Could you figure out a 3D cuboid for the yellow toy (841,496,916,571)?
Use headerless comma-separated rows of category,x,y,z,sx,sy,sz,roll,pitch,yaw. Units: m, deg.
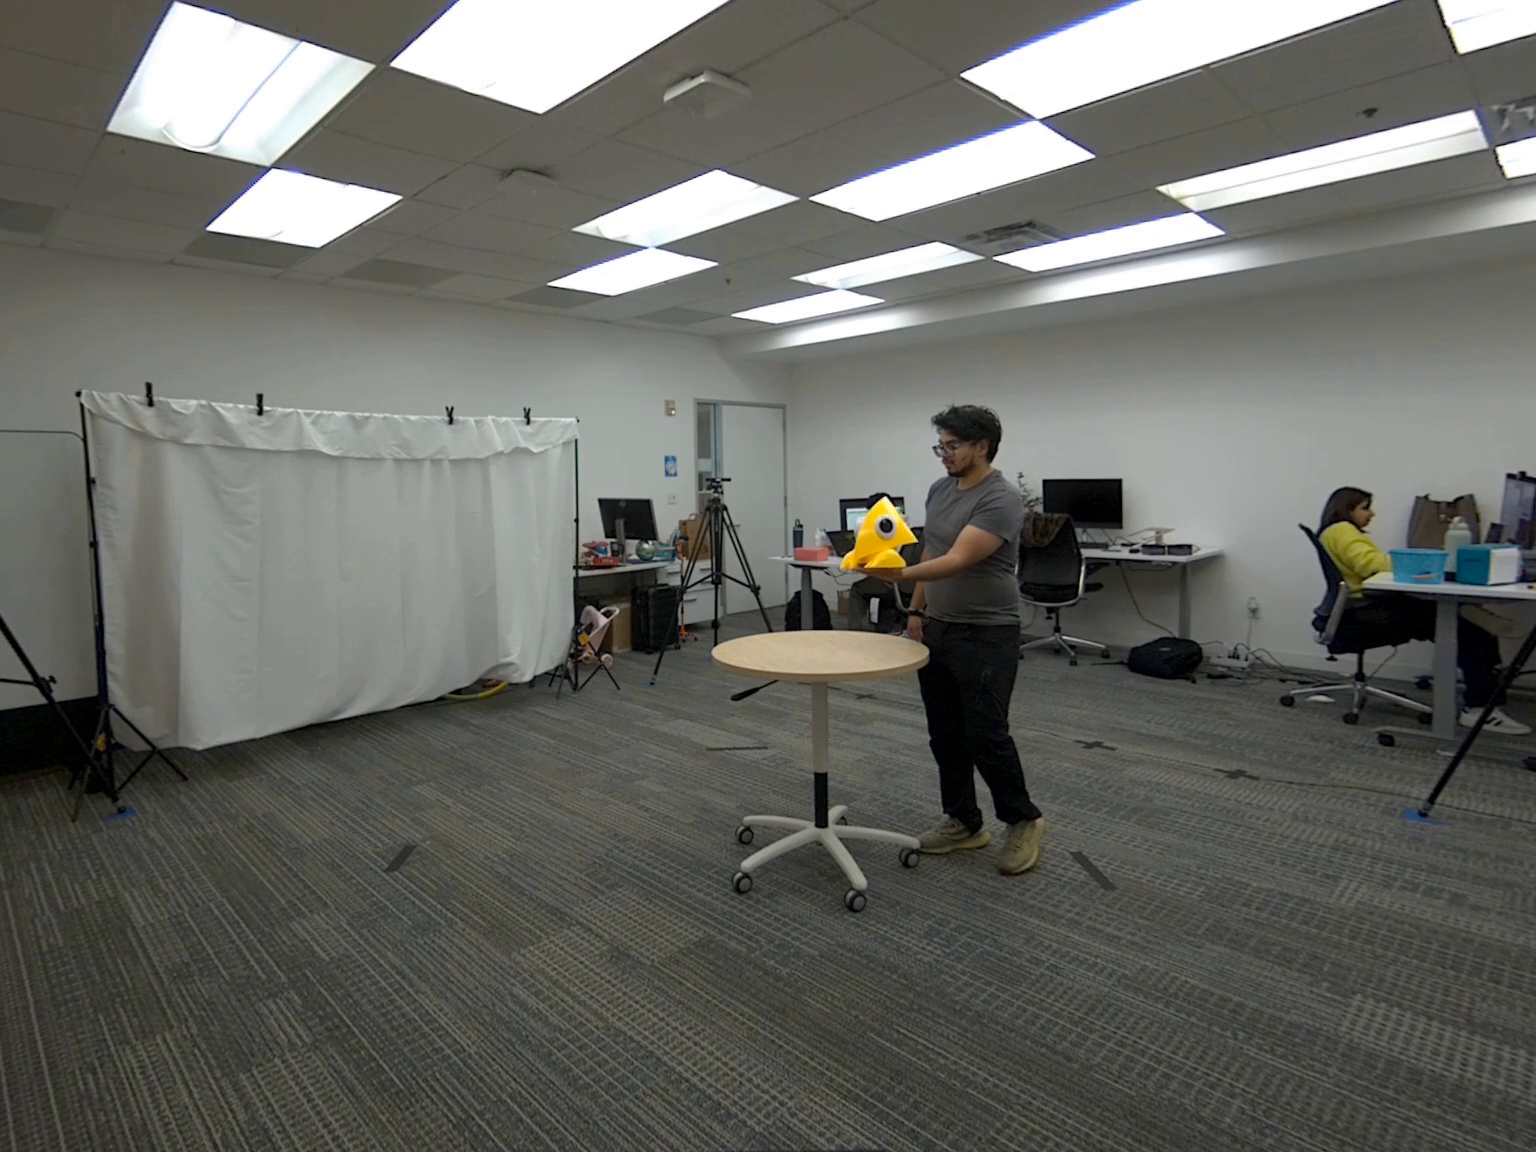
yellow toy,0.345,-0.139,2.734,0.188,0.231,0.210,-1,-2,-37
